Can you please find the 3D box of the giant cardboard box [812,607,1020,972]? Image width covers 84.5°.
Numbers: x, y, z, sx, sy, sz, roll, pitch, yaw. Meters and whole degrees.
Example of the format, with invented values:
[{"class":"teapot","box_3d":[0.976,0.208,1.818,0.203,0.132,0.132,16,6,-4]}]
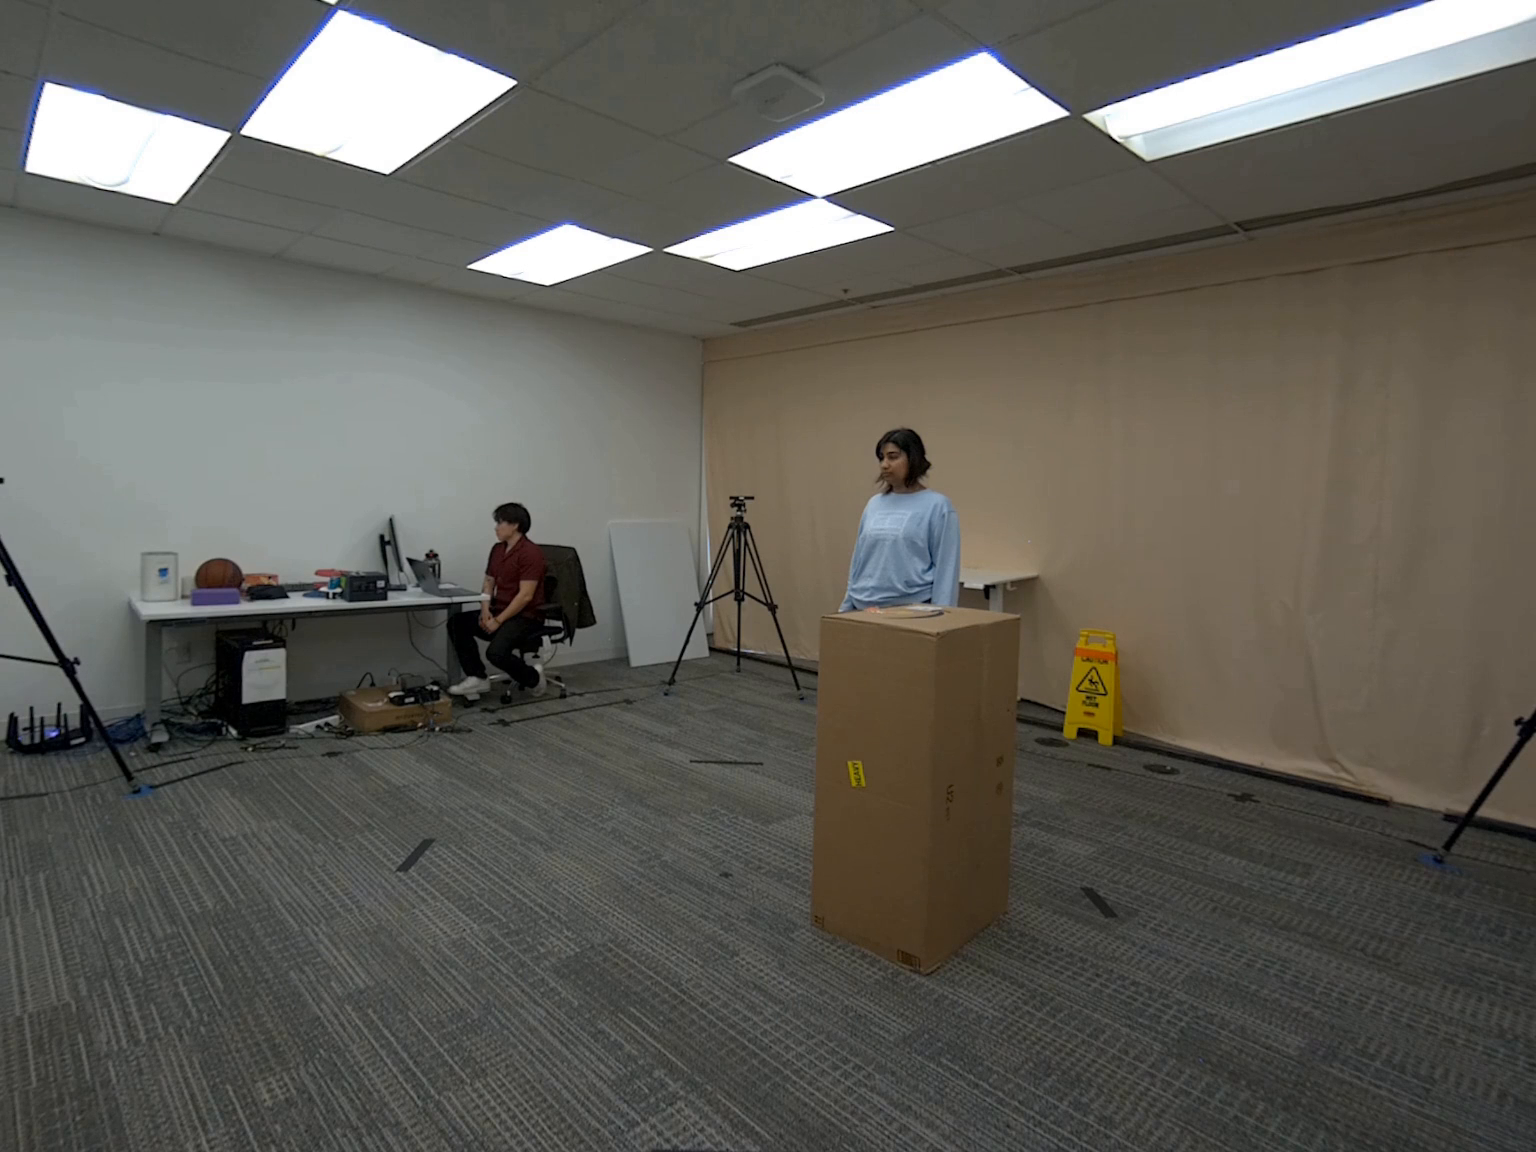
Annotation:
[{"class":"giant cardboard box","box_3d":[0.487,0.638,2.795,0.458,1.025,0.571,4,4,42]}]
